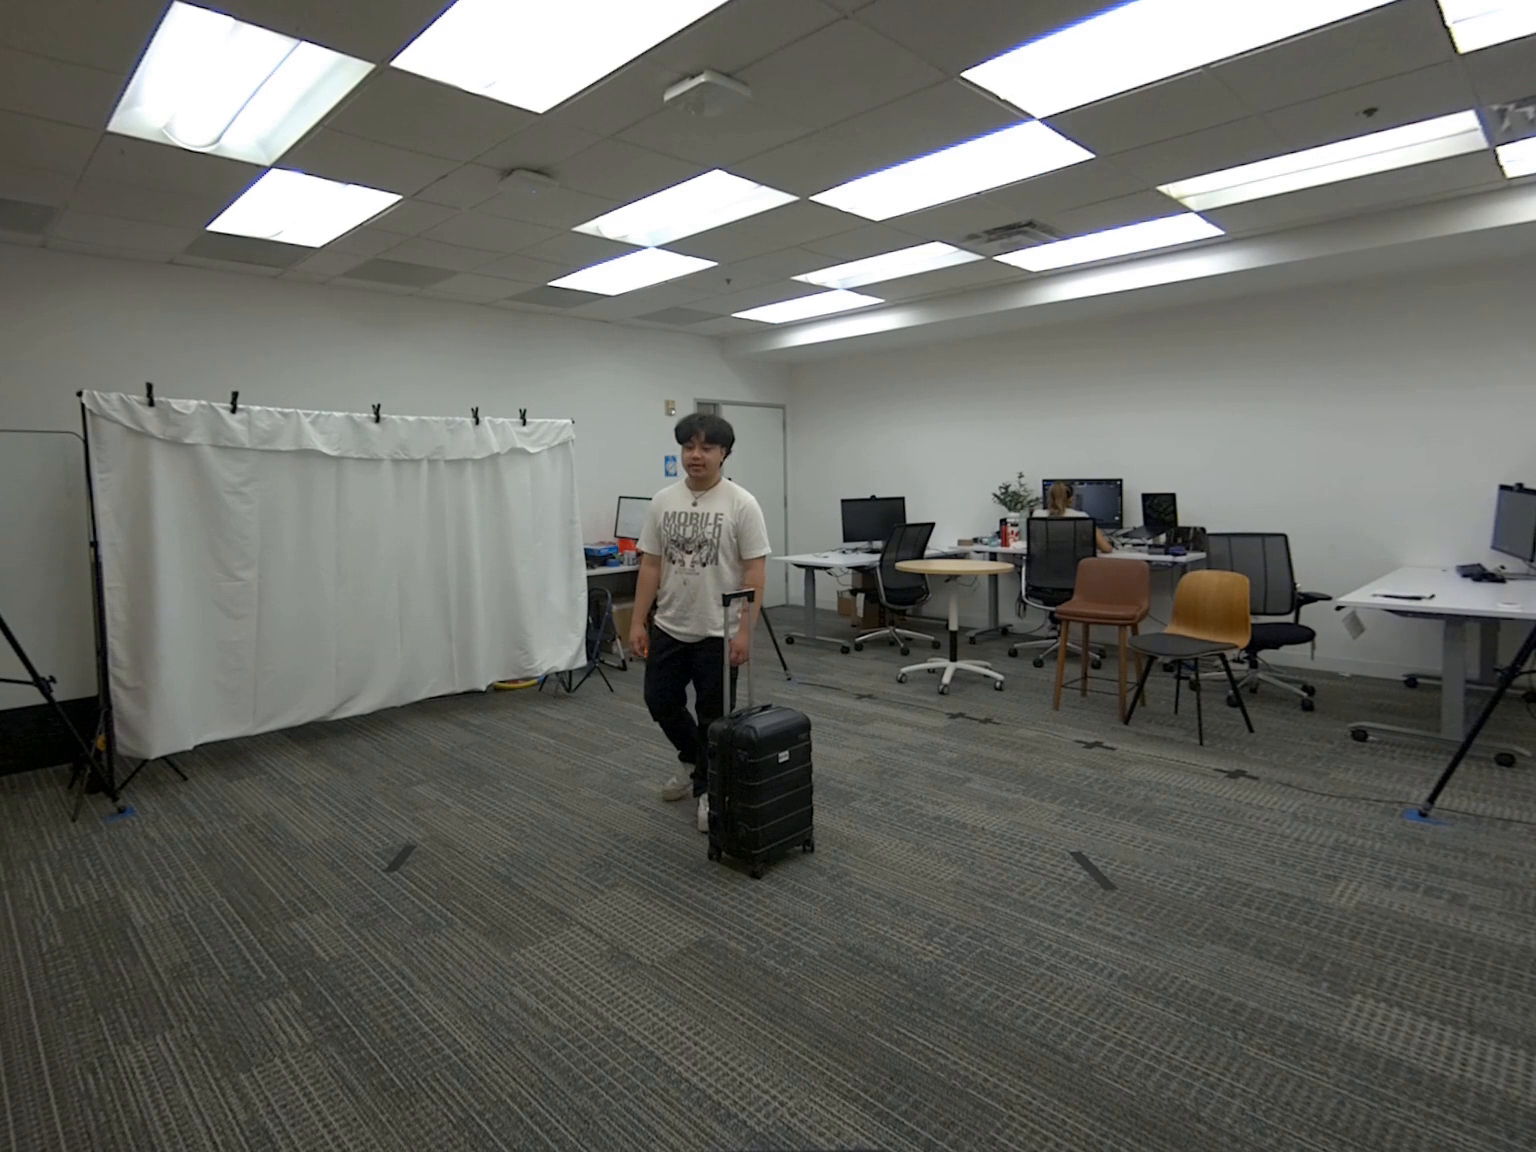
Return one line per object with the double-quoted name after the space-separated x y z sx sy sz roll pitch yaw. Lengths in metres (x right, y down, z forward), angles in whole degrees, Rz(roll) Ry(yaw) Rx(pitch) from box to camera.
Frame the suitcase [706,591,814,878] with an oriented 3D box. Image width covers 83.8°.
-0.019 0.564 3.115 0.265 0.973 0.374 8 9 44 "suitcase"
